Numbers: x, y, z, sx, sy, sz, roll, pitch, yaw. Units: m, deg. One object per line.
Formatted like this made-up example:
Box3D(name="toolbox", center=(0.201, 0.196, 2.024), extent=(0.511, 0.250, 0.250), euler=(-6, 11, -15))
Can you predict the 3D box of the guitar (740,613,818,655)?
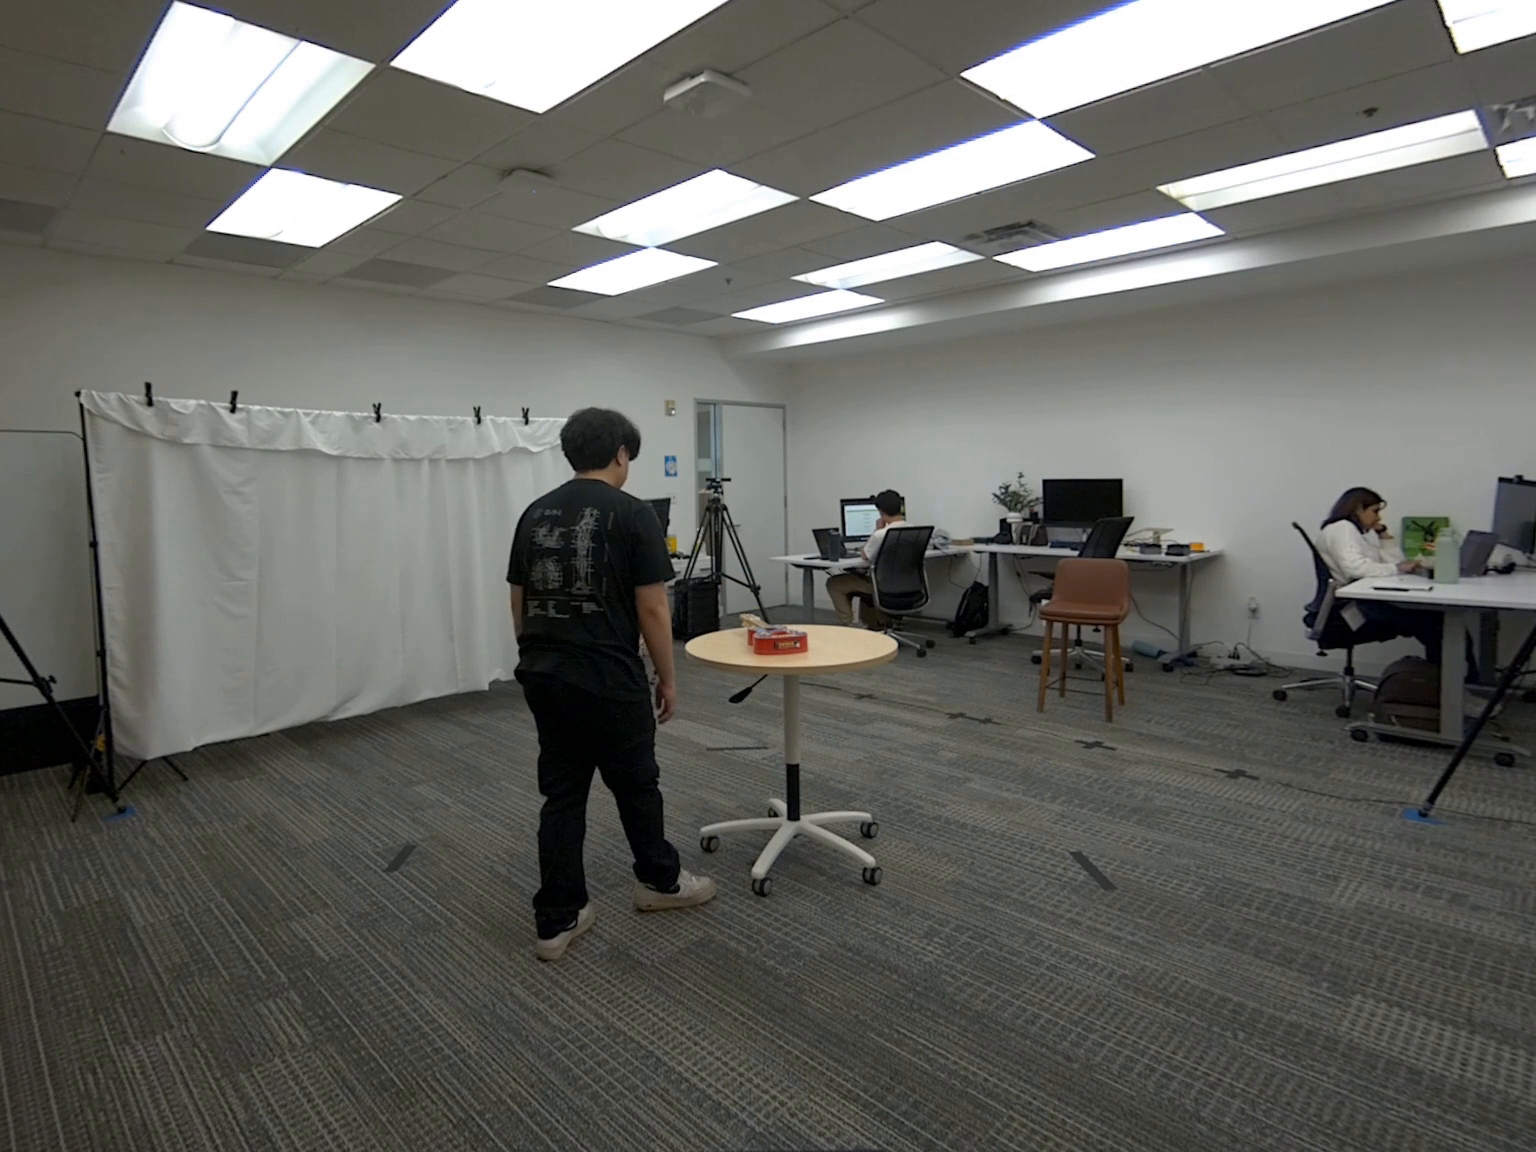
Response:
Box3D(name="guitar", center=(0.027, 0.204, 3.125), extent=(0.191, 0.070, 0.503), euler=(1, 5, -9))
